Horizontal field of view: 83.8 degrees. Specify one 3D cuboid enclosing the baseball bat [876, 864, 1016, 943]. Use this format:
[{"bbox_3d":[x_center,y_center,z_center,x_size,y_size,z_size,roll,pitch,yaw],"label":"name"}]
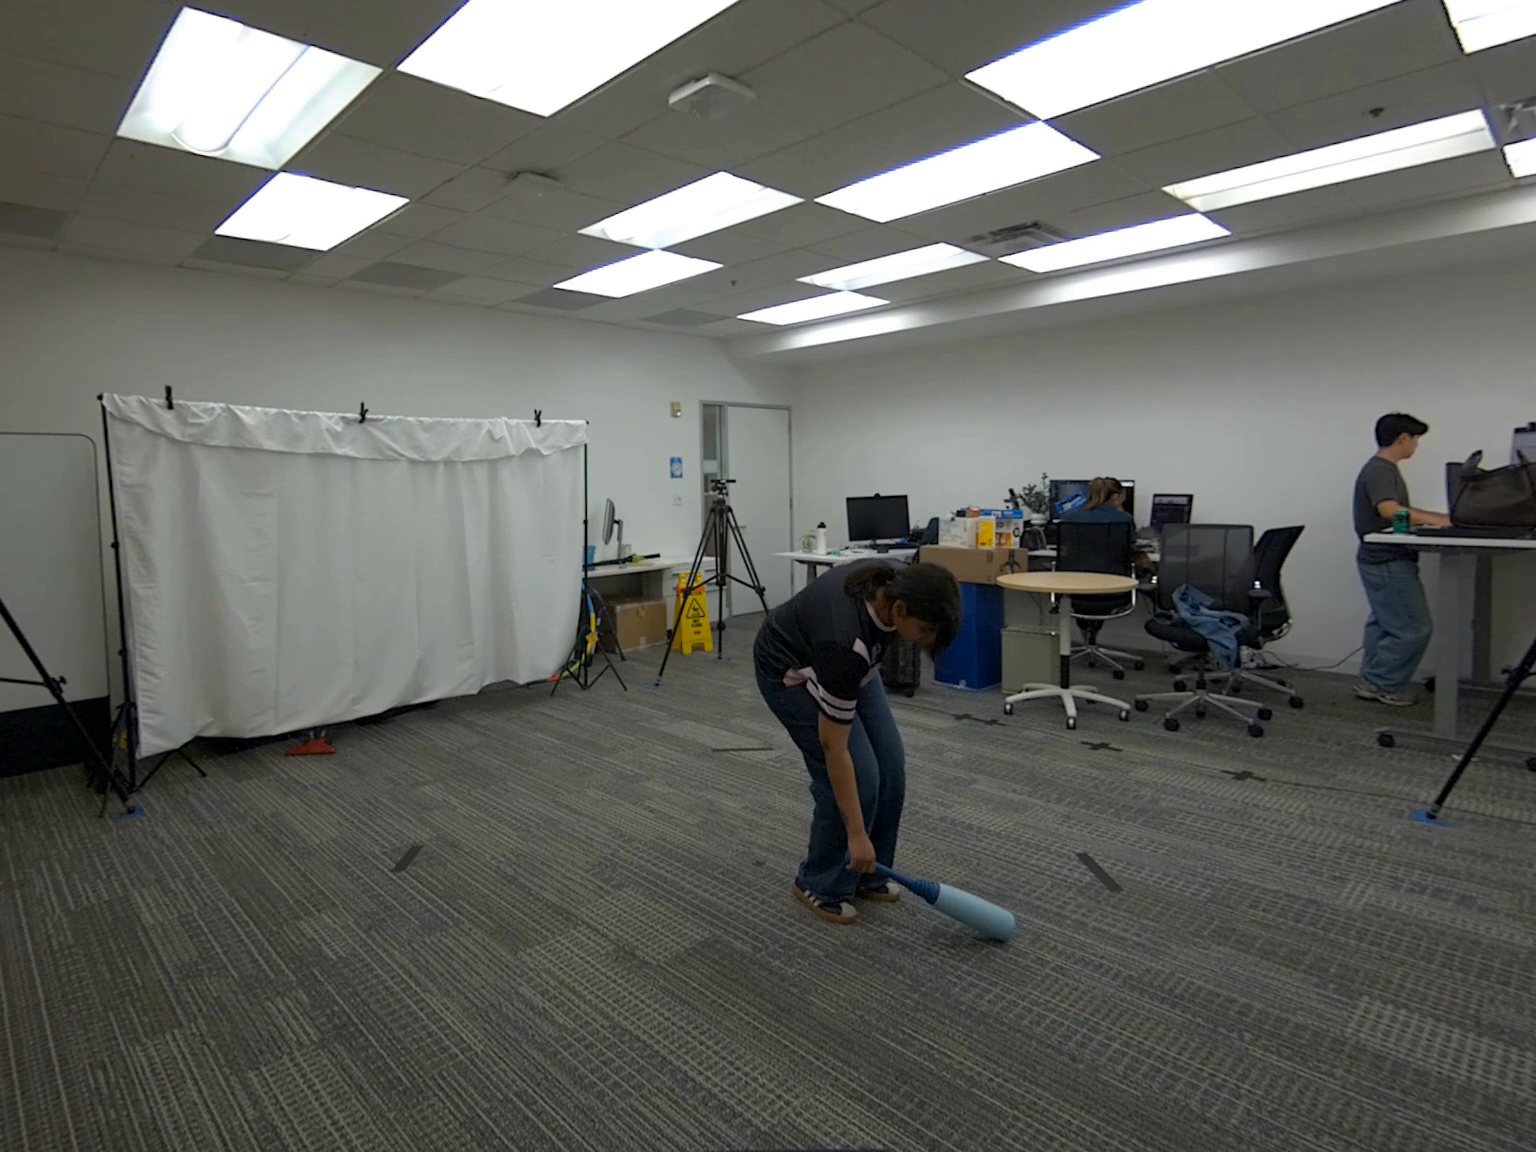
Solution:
[{"bbox_3d":[0.481,0.951,2.569,0.544,0.089,0.089,24,5,1],"label":"baseball bat"}]
